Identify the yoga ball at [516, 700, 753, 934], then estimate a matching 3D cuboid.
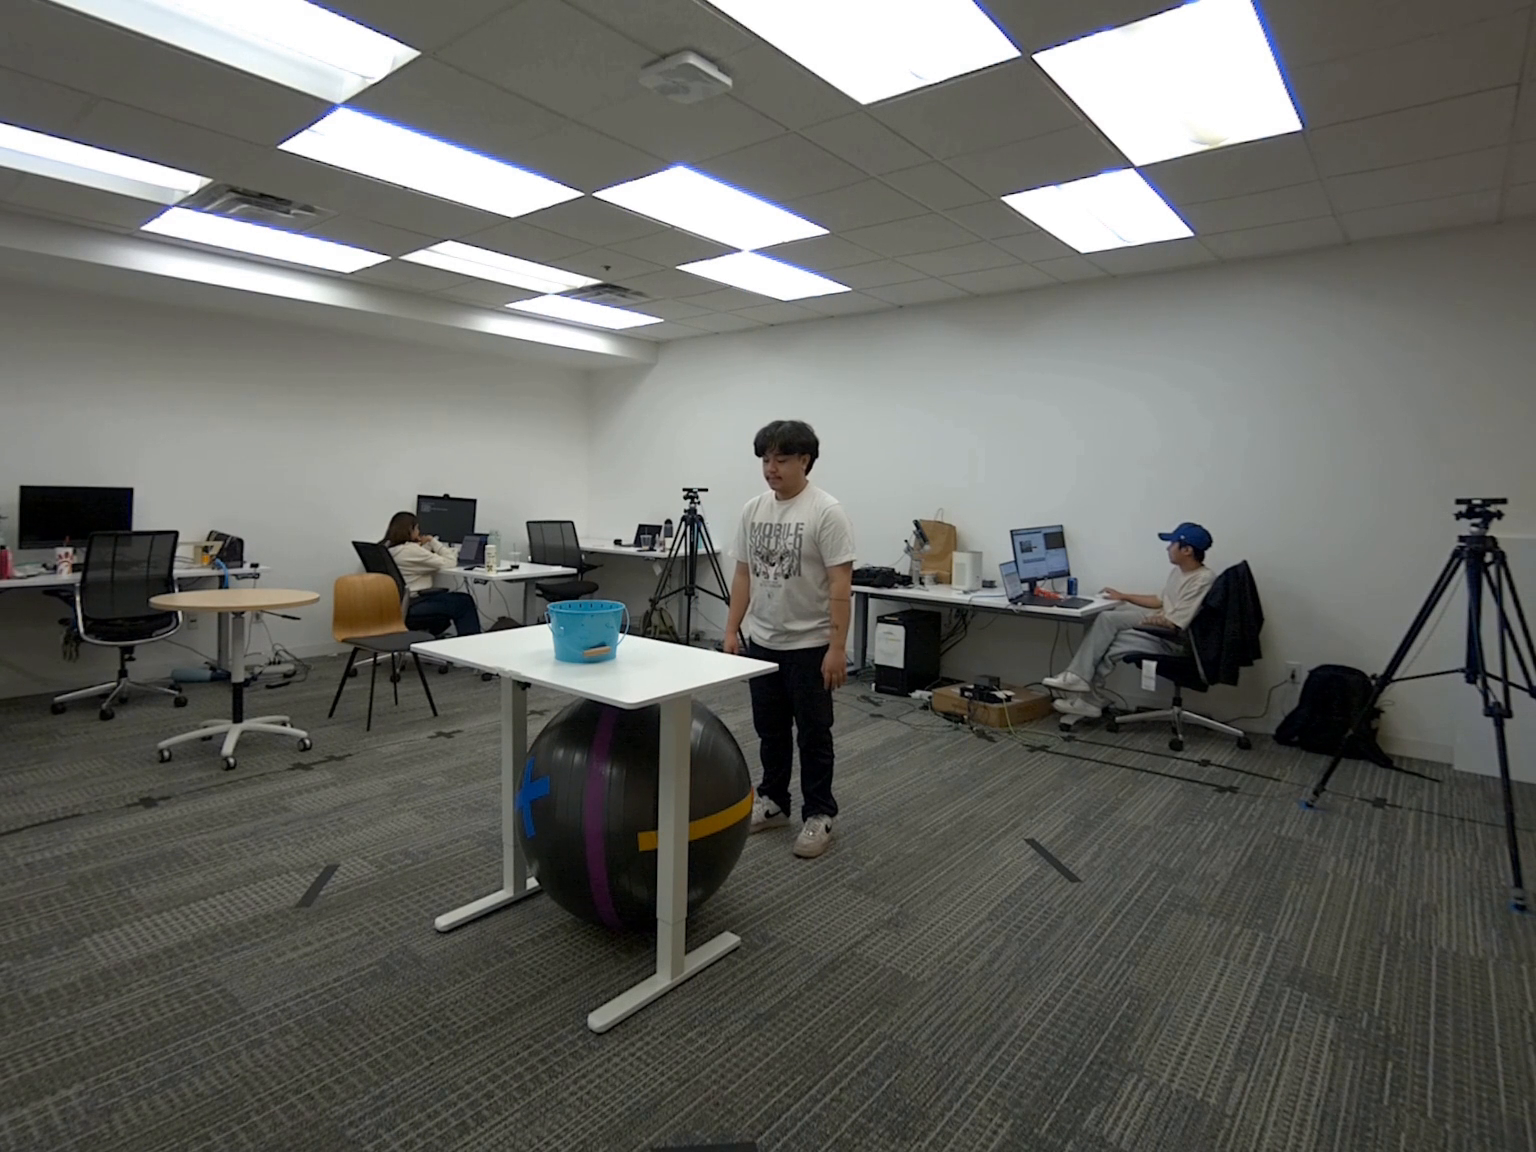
[{"bbox_3d":[-0.437,0.738,2.746,0.757,0.755,0.762,1,4,-2],"label":"yoga ball"}]
